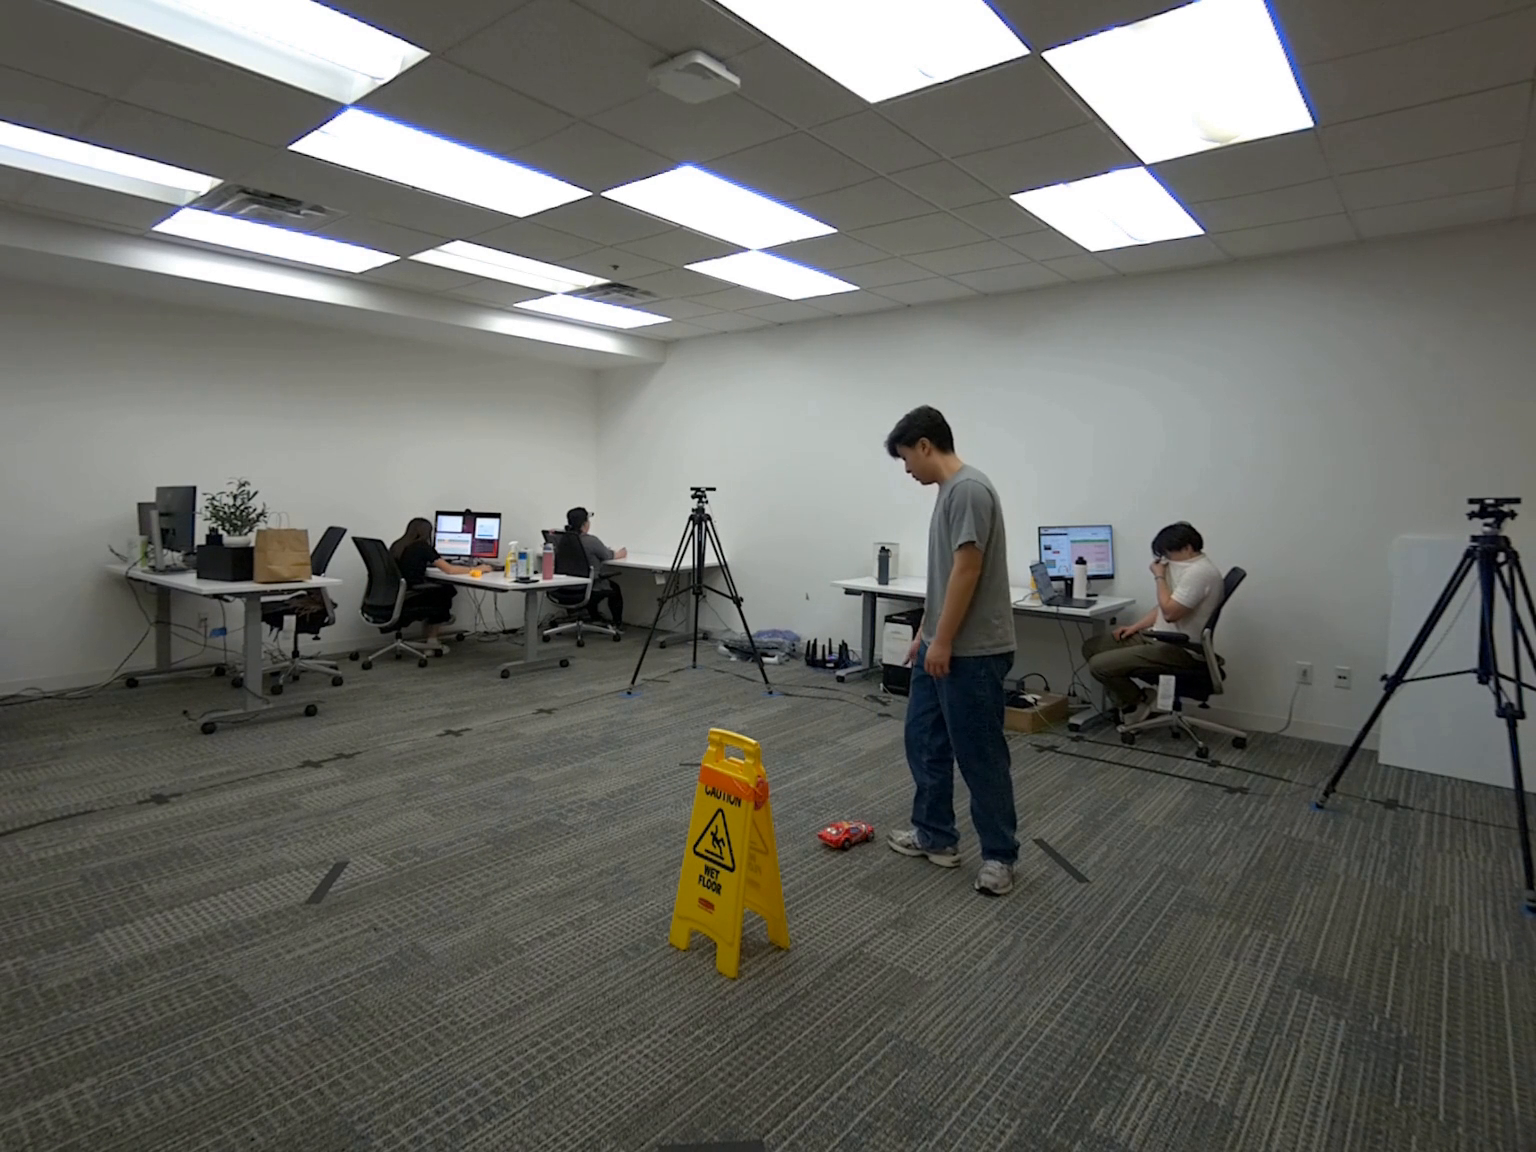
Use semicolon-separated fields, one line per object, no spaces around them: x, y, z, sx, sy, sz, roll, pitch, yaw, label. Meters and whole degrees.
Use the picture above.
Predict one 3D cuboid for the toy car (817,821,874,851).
0.298;1.020;3.366;0.245;0.083;0.135;11;-2;-40;toy car
